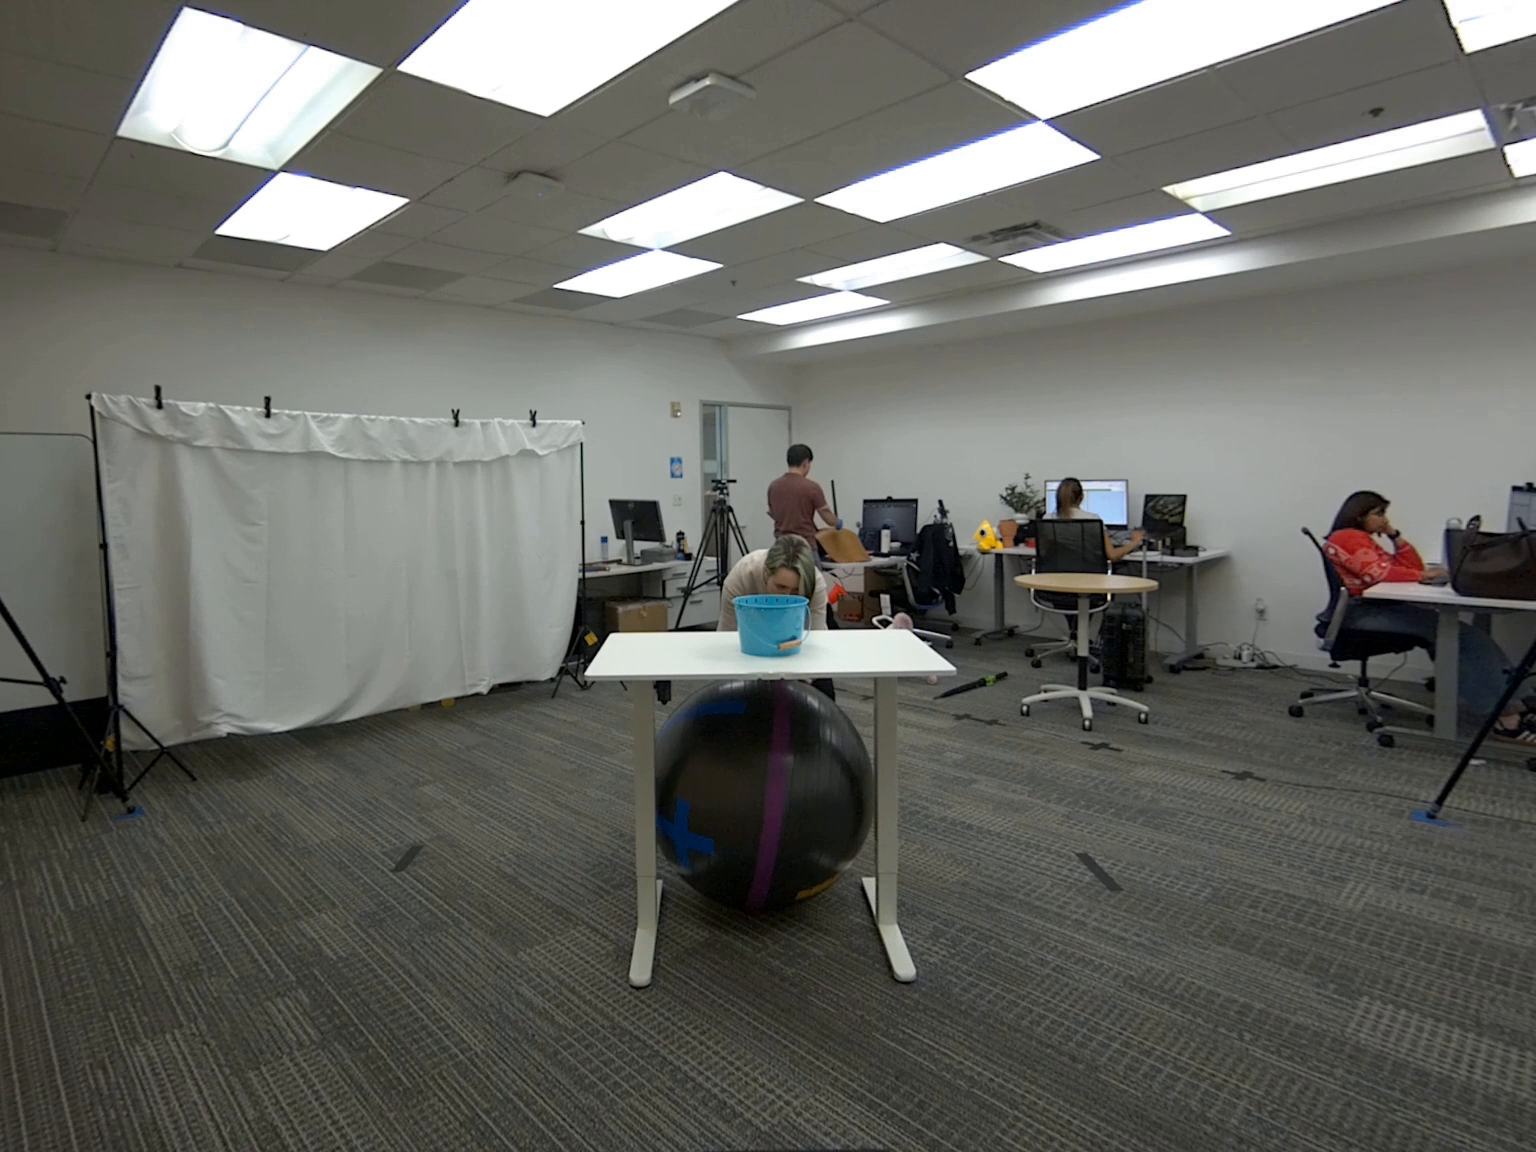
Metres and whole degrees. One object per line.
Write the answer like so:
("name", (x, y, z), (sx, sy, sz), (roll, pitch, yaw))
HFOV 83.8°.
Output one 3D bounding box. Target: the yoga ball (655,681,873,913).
("yoga ball", (-0.028, 0.704, 2.846), (0.757, 0.755, 0.762), (-1, 5, -2))
